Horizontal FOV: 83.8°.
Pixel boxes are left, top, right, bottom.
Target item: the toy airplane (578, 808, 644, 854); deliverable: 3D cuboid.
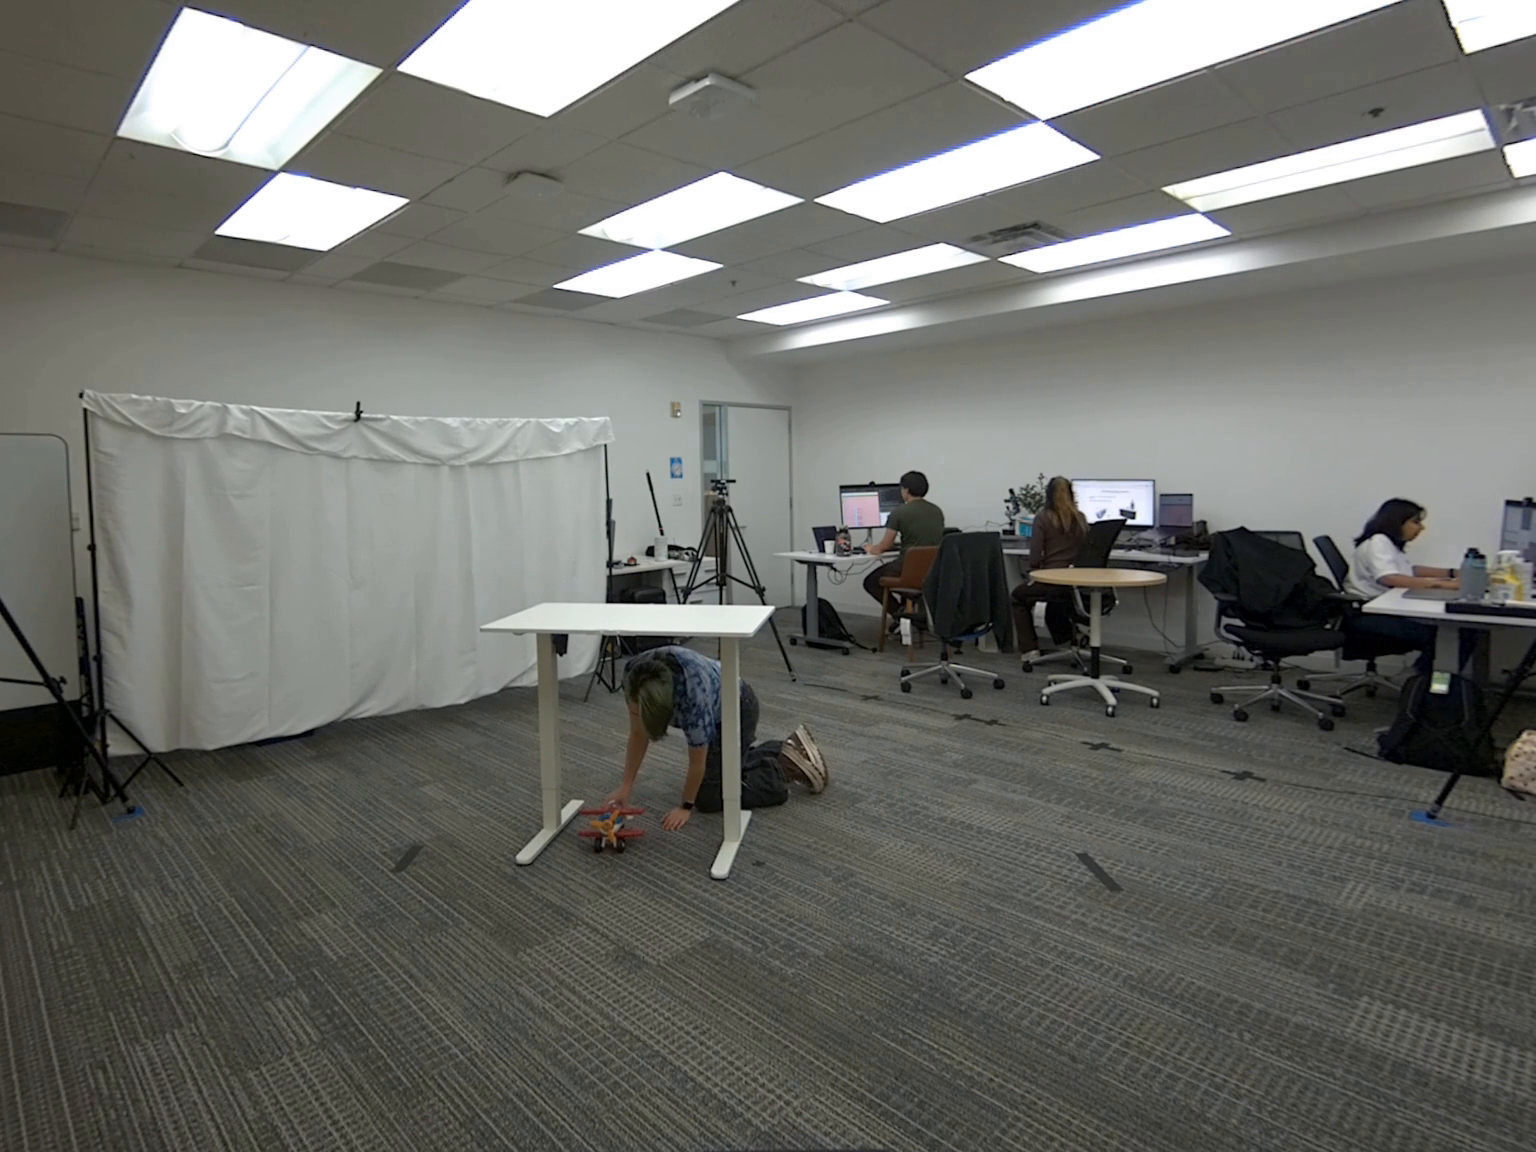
[{"bbox_3d":[-0.624,0.968,3.318,0.246,0.156,0.265,-5,6,-25],"label":"toy airplane"}]
